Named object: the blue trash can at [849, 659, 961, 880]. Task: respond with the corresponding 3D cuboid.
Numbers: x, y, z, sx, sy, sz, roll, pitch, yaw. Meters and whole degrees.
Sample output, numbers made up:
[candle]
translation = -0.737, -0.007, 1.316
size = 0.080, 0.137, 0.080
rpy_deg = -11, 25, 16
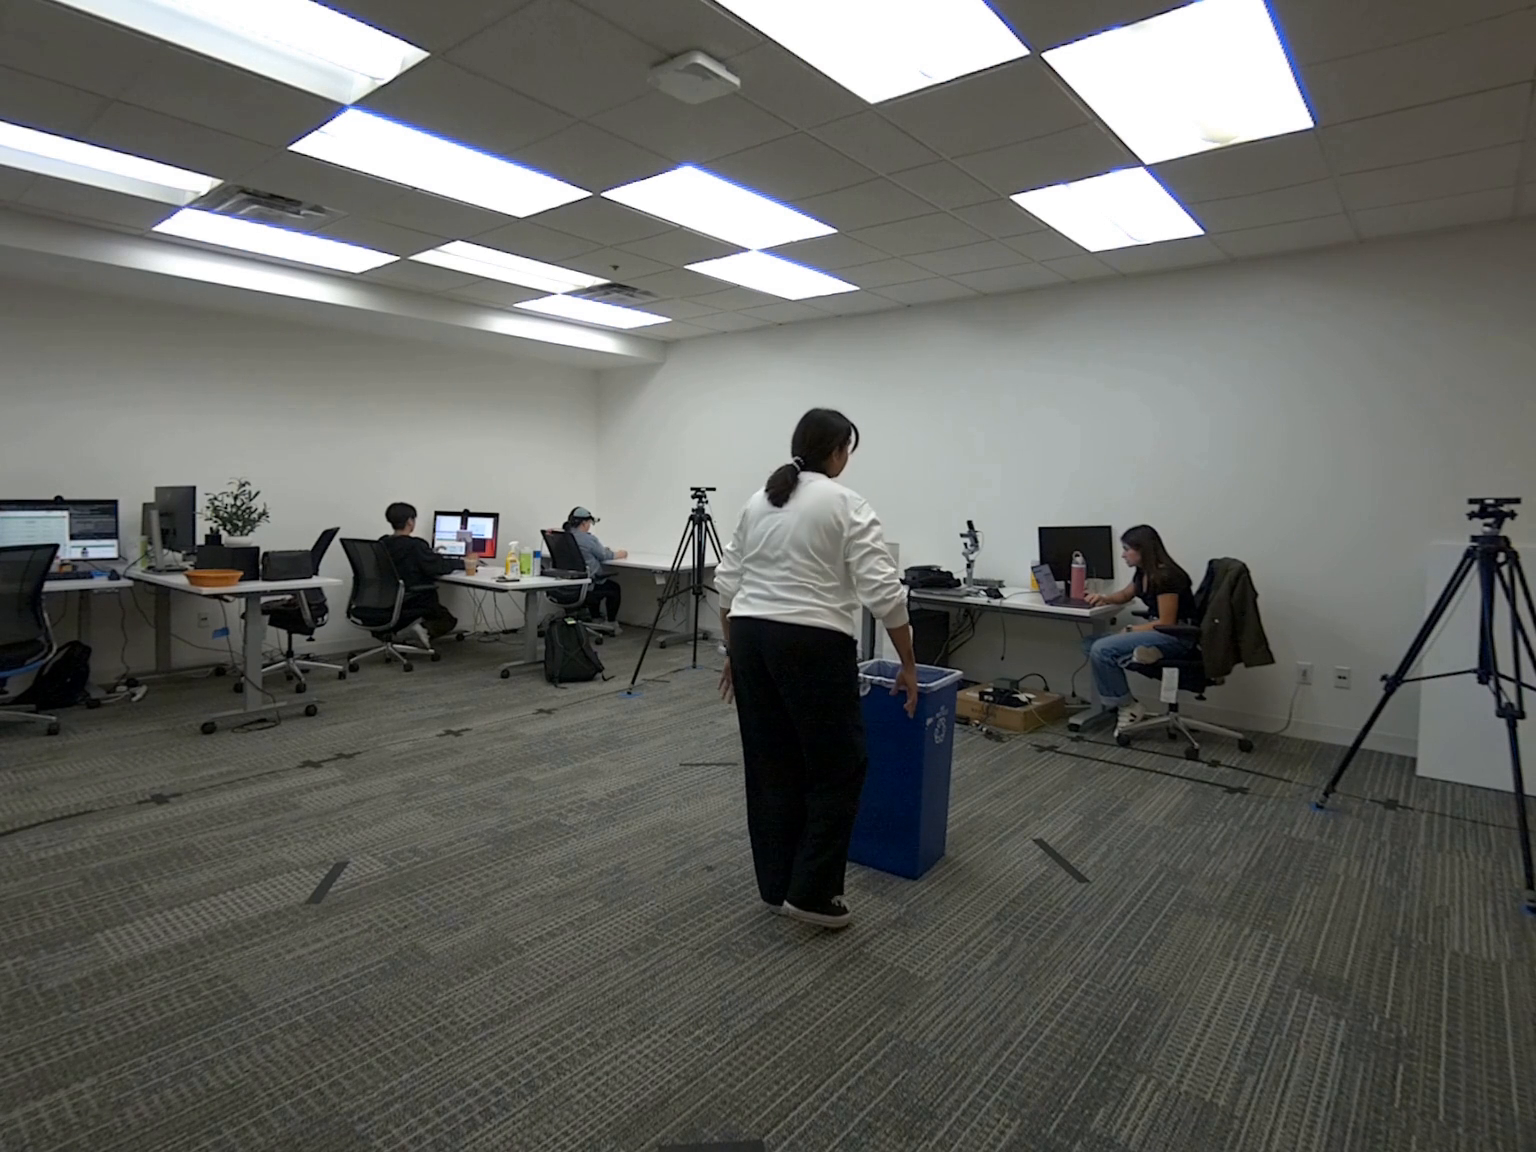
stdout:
[blue trash can]
translation = 0.487, 0.711, 3.246
size = 0.390, 0.711, 0.364
rpy_deg = 4, 4, 33
